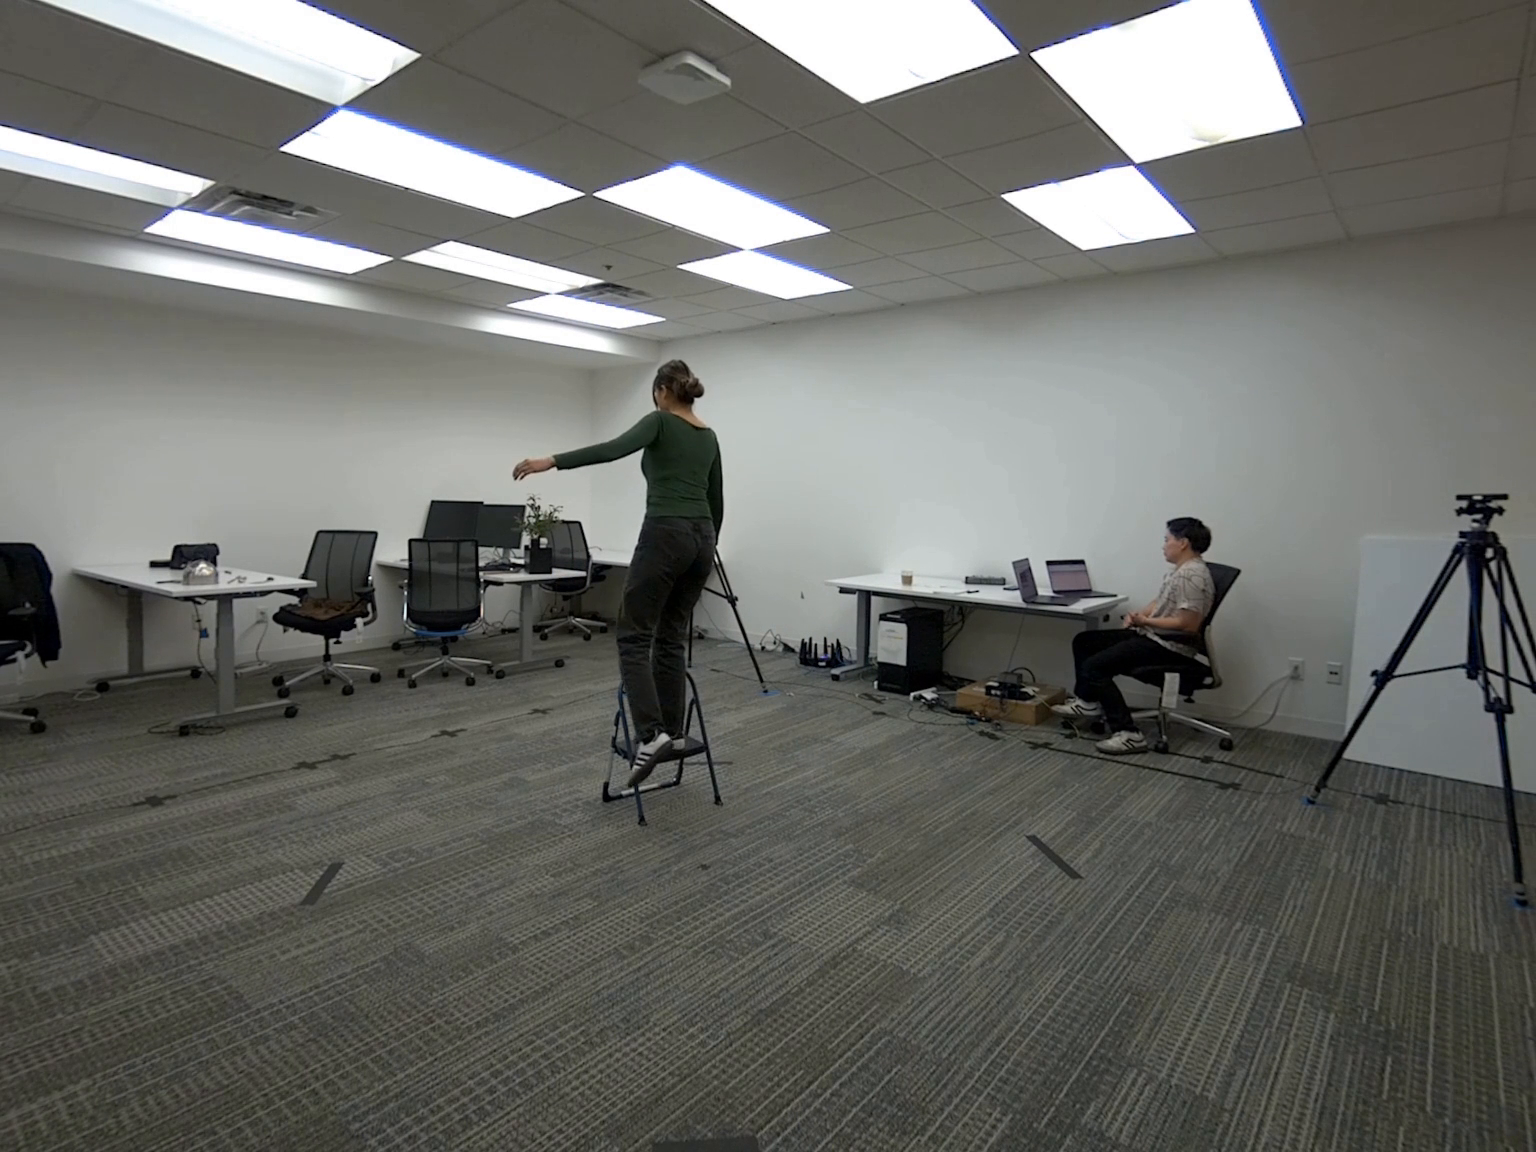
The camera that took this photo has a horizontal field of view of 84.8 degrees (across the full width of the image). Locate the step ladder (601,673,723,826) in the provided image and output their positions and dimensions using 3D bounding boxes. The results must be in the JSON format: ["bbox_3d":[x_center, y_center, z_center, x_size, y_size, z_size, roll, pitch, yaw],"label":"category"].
[{"bbox_3d":[-0.476,0.696,3.740,0.418,0.604,0.361,-2,4,-40],"label":"step ladder"}]
